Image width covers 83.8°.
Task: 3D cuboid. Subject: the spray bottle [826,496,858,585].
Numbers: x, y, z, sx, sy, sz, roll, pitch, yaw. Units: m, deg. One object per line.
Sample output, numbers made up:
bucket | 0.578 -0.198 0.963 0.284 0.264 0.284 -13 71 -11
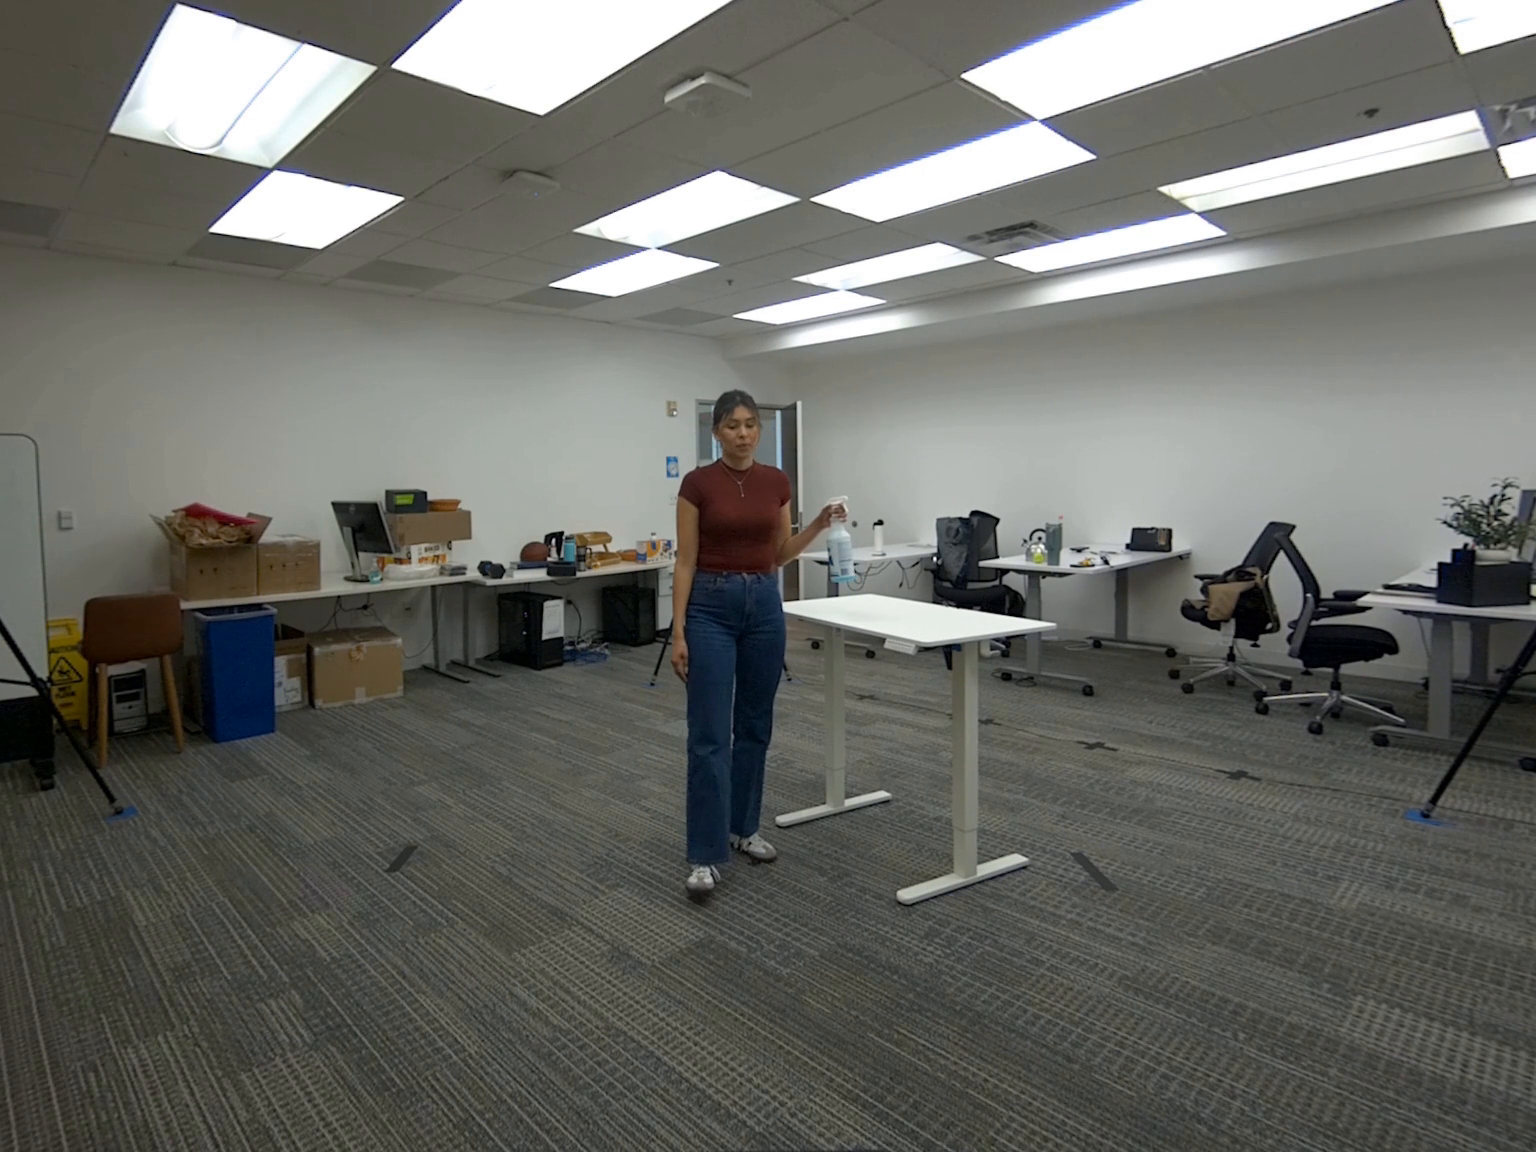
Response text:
spray bottle | 0.246 -0.129 3.024 0.085 0.297 0.092 -7 3 -34
